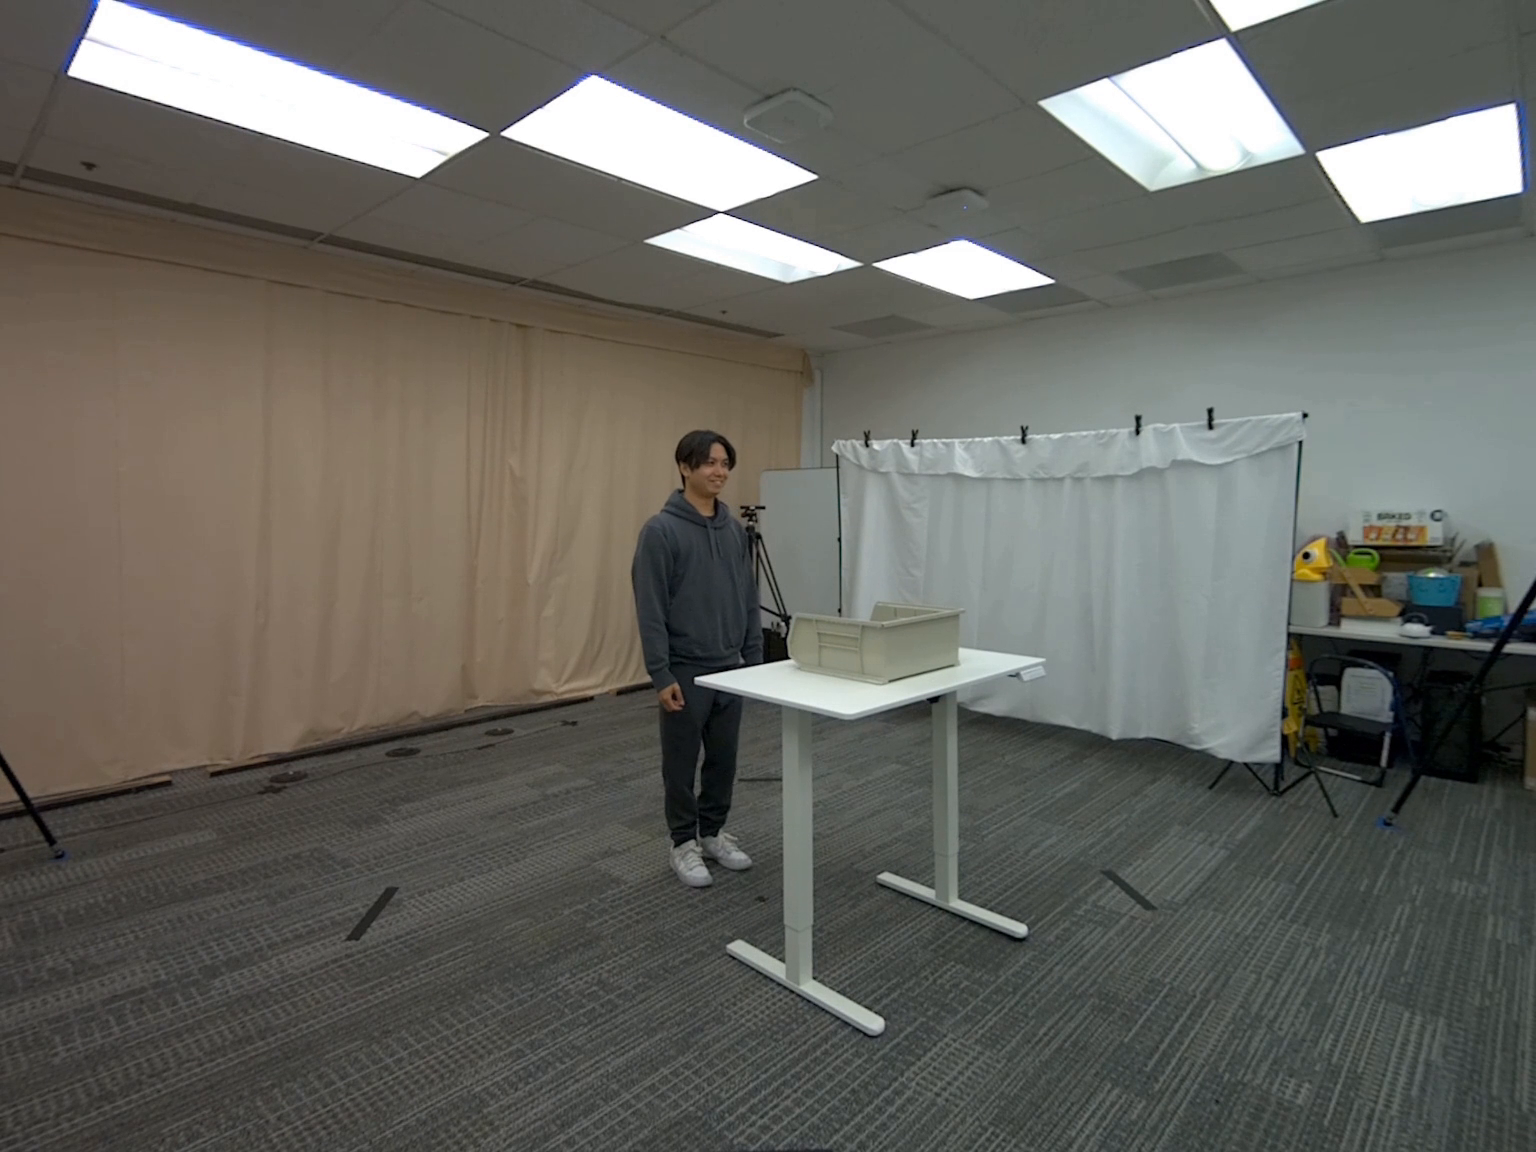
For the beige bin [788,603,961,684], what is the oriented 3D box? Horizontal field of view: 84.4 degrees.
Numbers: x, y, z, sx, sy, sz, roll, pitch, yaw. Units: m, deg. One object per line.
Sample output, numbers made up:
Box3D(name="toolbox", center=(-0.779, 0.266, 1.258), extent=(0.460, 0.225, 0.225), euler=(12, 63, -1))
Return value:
Box3D(name="beige bin", center=(0.341, 0.201, 2.645), extent=(0.409, 0.188, 0.390), euler=(-5, 7, -44))
